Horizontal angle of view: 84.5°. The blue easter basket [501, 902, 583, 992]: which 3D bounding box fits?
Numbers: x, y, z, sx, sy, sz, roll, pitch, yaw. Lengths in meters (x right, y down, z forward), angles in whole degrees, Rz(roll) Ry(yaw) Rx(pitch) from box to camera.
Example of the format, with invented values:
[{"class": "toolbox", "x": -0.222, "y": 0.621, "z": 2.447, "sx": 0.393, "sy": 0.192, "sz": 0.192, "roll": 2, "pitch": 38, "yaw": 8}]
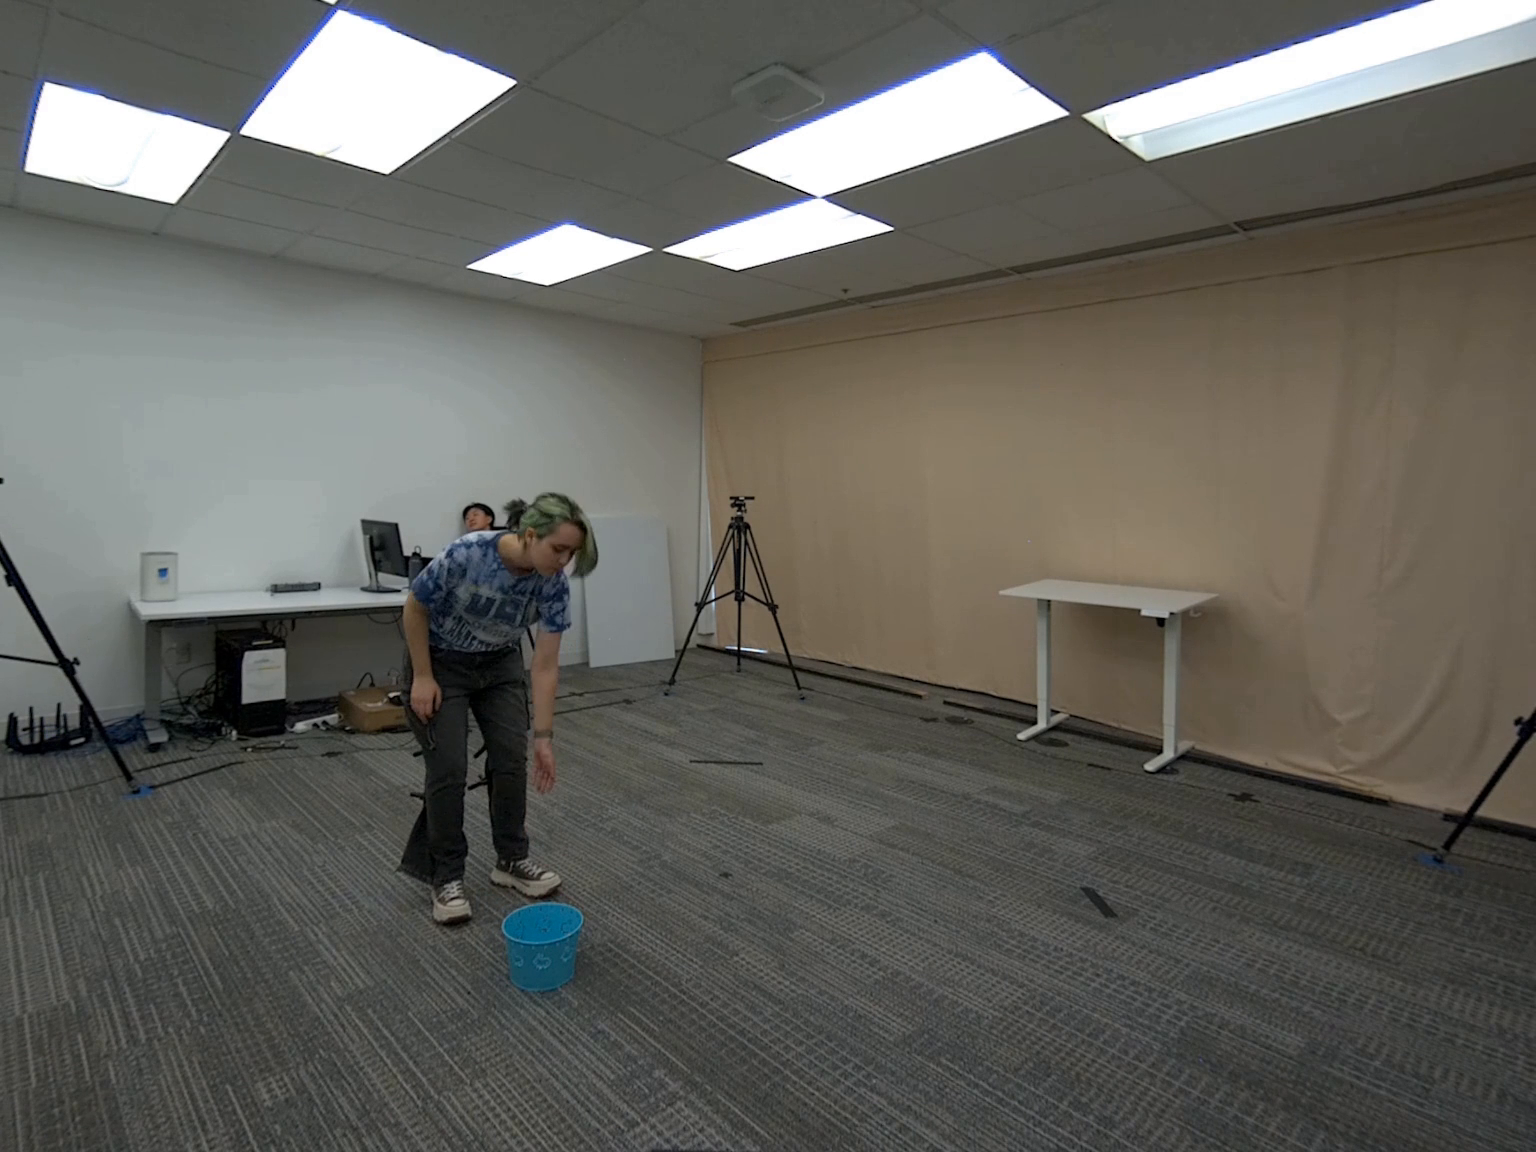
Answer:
[{"class": "blue easter basket", "x": -0.657, "y": 1.077, "z": 2.438, "sx": 0.243, "sy": 0.155, "sz": 0.244, "roll": 2, "pitch": 5, "yaw": -2}]
